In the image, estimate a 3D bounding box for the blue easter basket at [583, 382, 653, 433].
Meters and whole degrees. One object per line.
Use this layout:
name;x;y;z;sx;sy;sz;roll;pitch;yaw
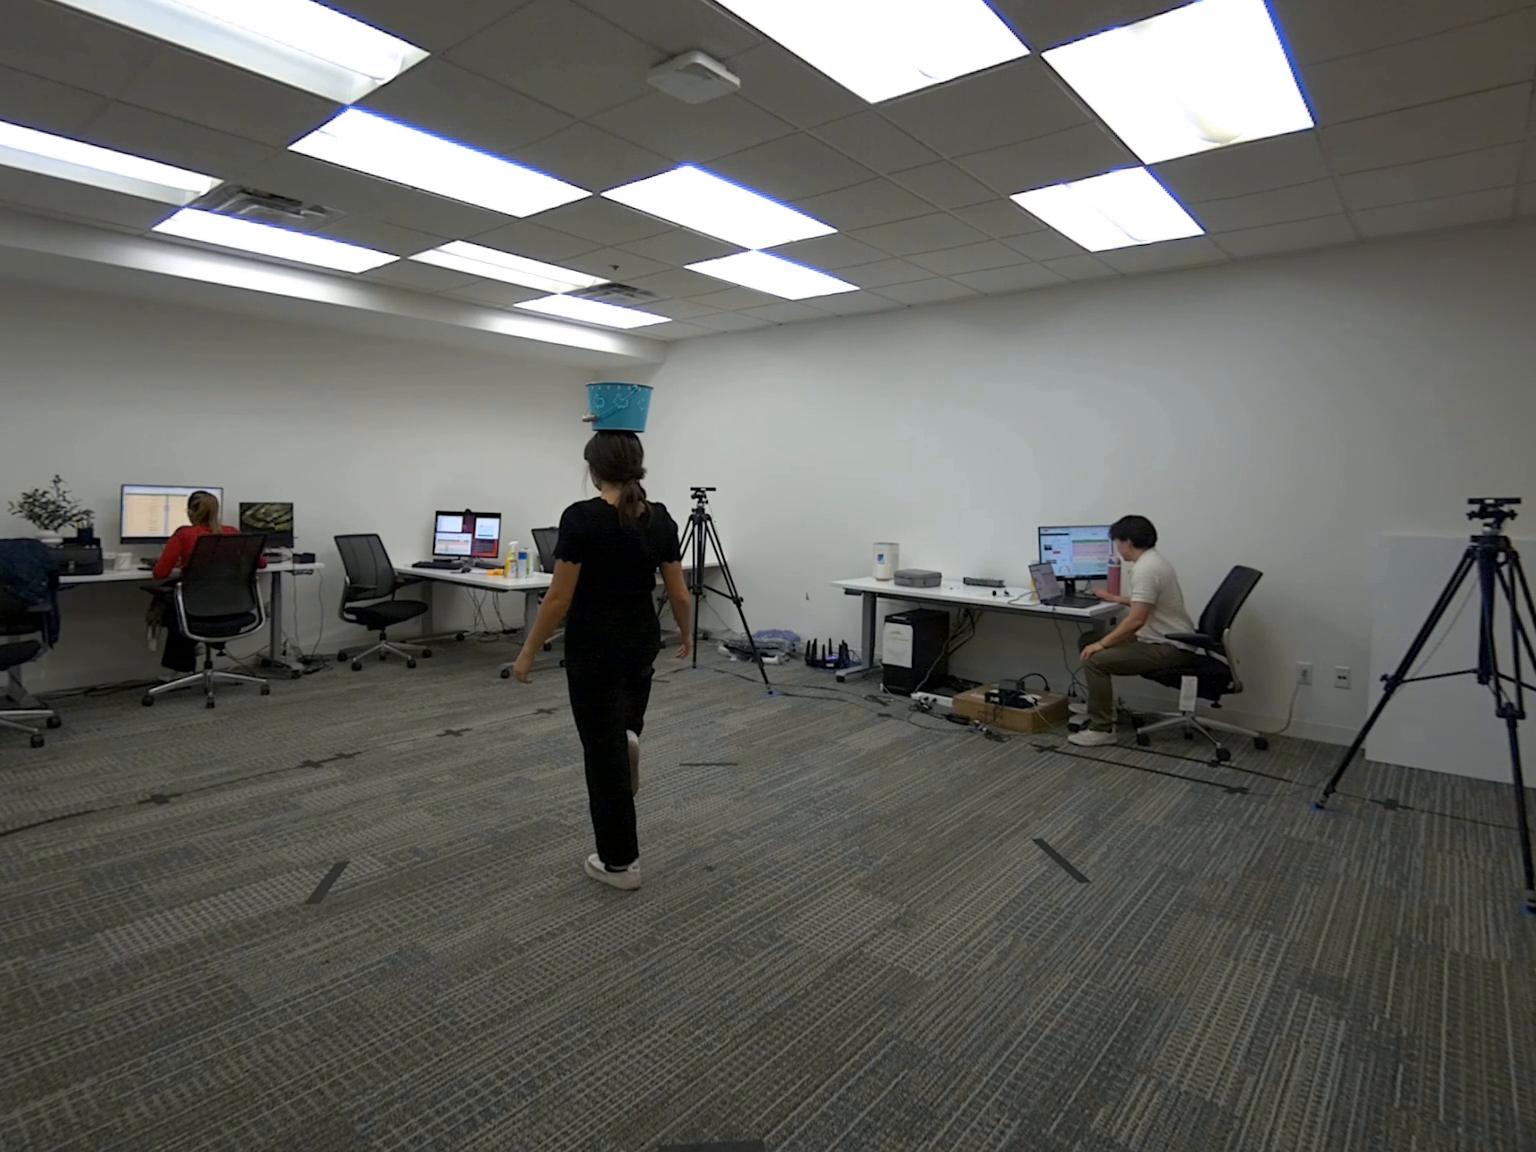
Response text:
blue easter basket;-0.525;-0.574;2.883;0.243;0.155;0.245;1;5;-2
